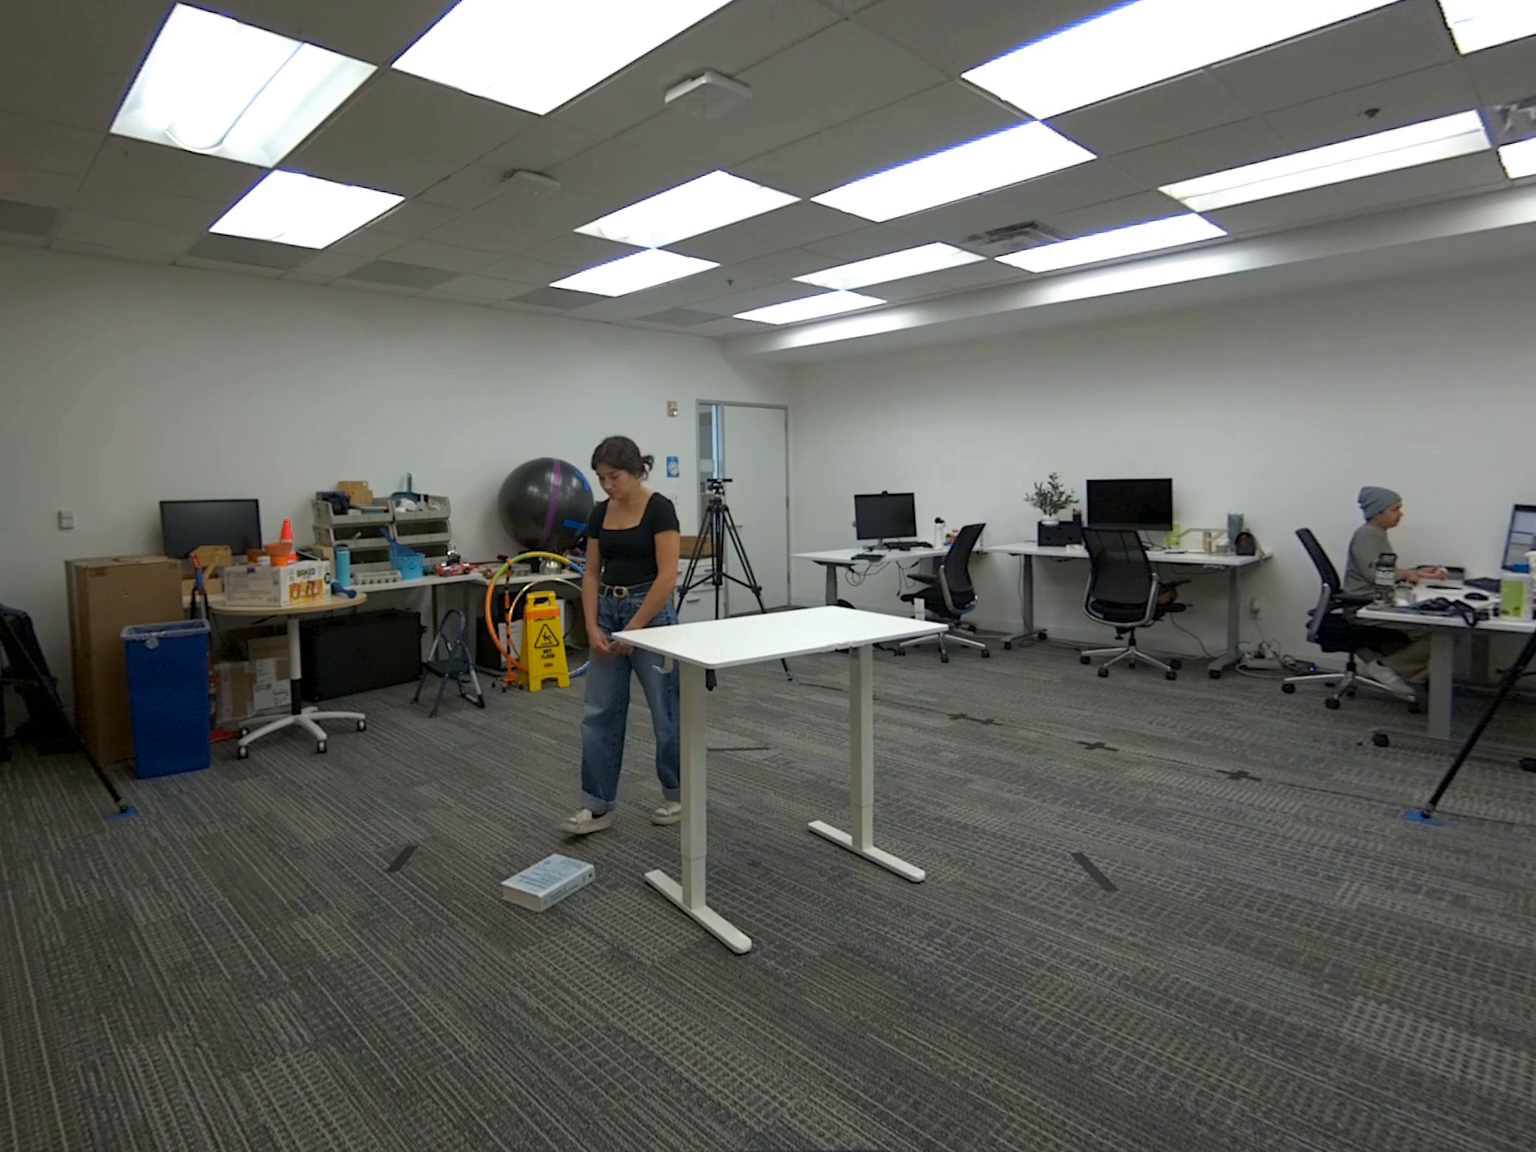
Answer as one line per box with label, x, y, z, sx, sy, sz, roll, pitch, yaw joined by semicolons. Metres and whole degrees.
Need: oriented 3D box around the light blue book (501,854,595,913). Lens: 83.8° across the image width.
light blue book;-0.751;1.049;2.930;0.196;0.059;0.255;2;7;31
